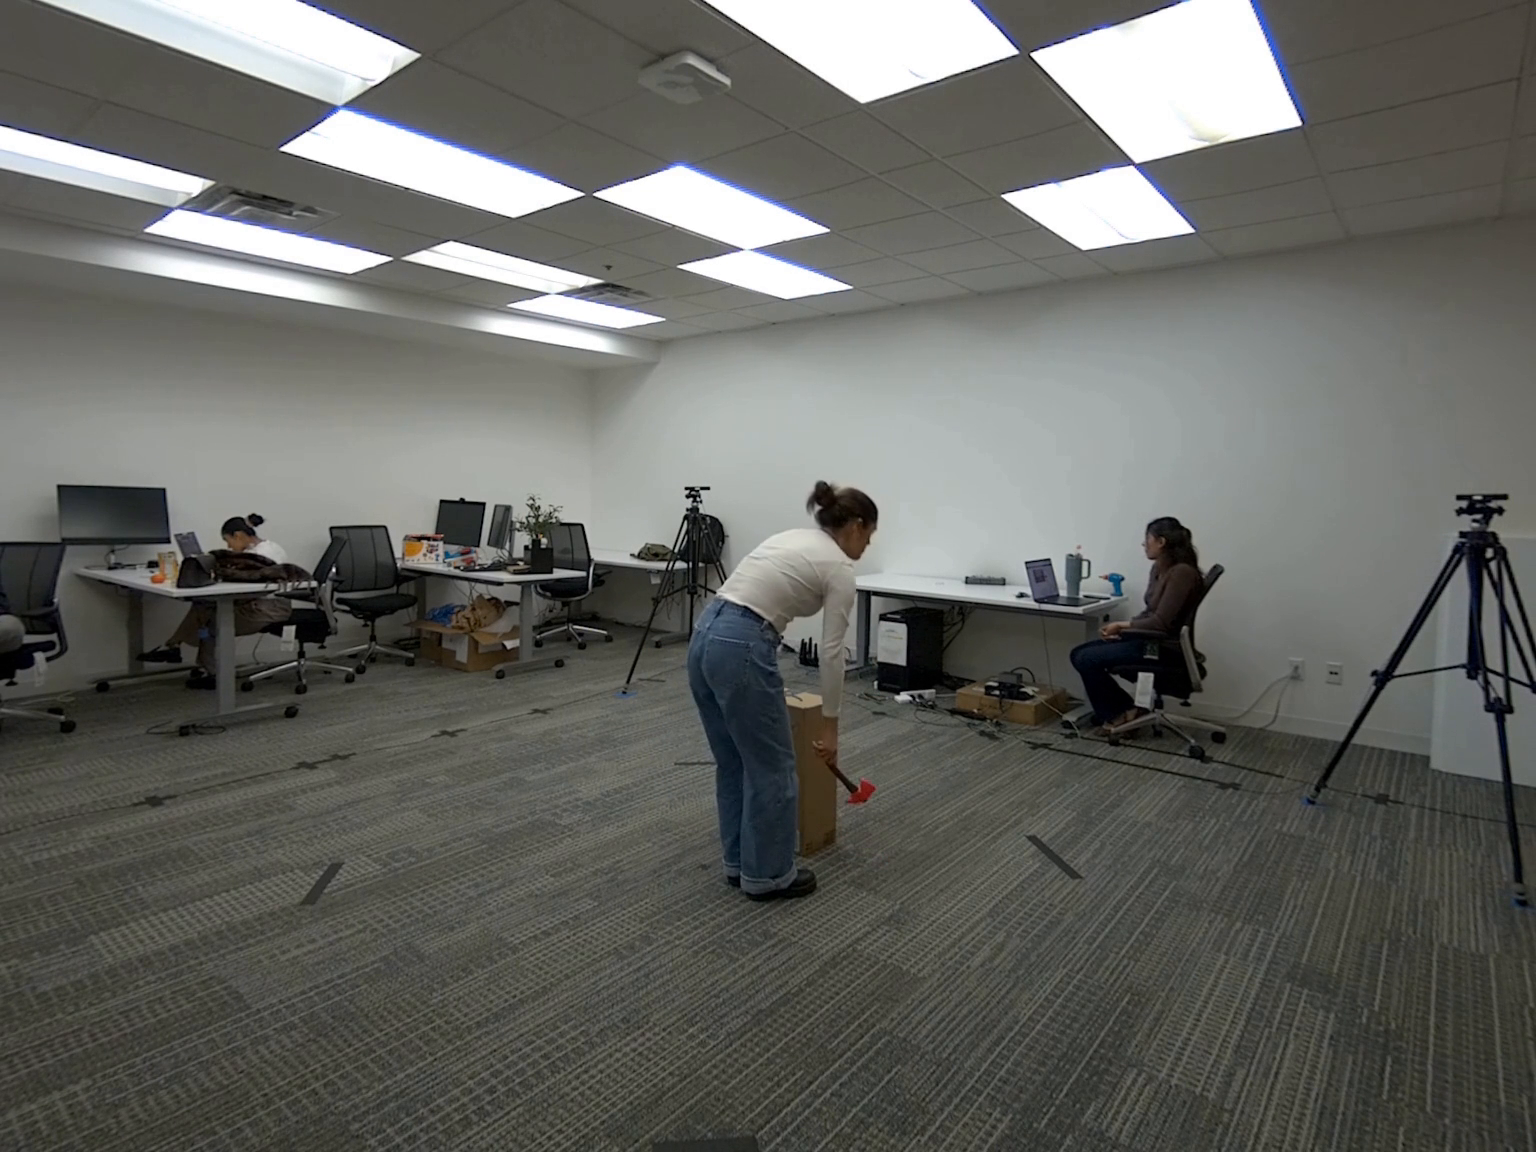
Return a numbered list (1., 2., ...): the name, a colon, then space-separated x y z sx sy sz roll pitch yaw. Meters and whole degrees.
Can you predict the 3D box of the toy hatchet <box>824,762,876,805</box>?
1. toy hatchet: 0.258 0.680 2.862 0.133 0.262 0.030 -21 26 30
